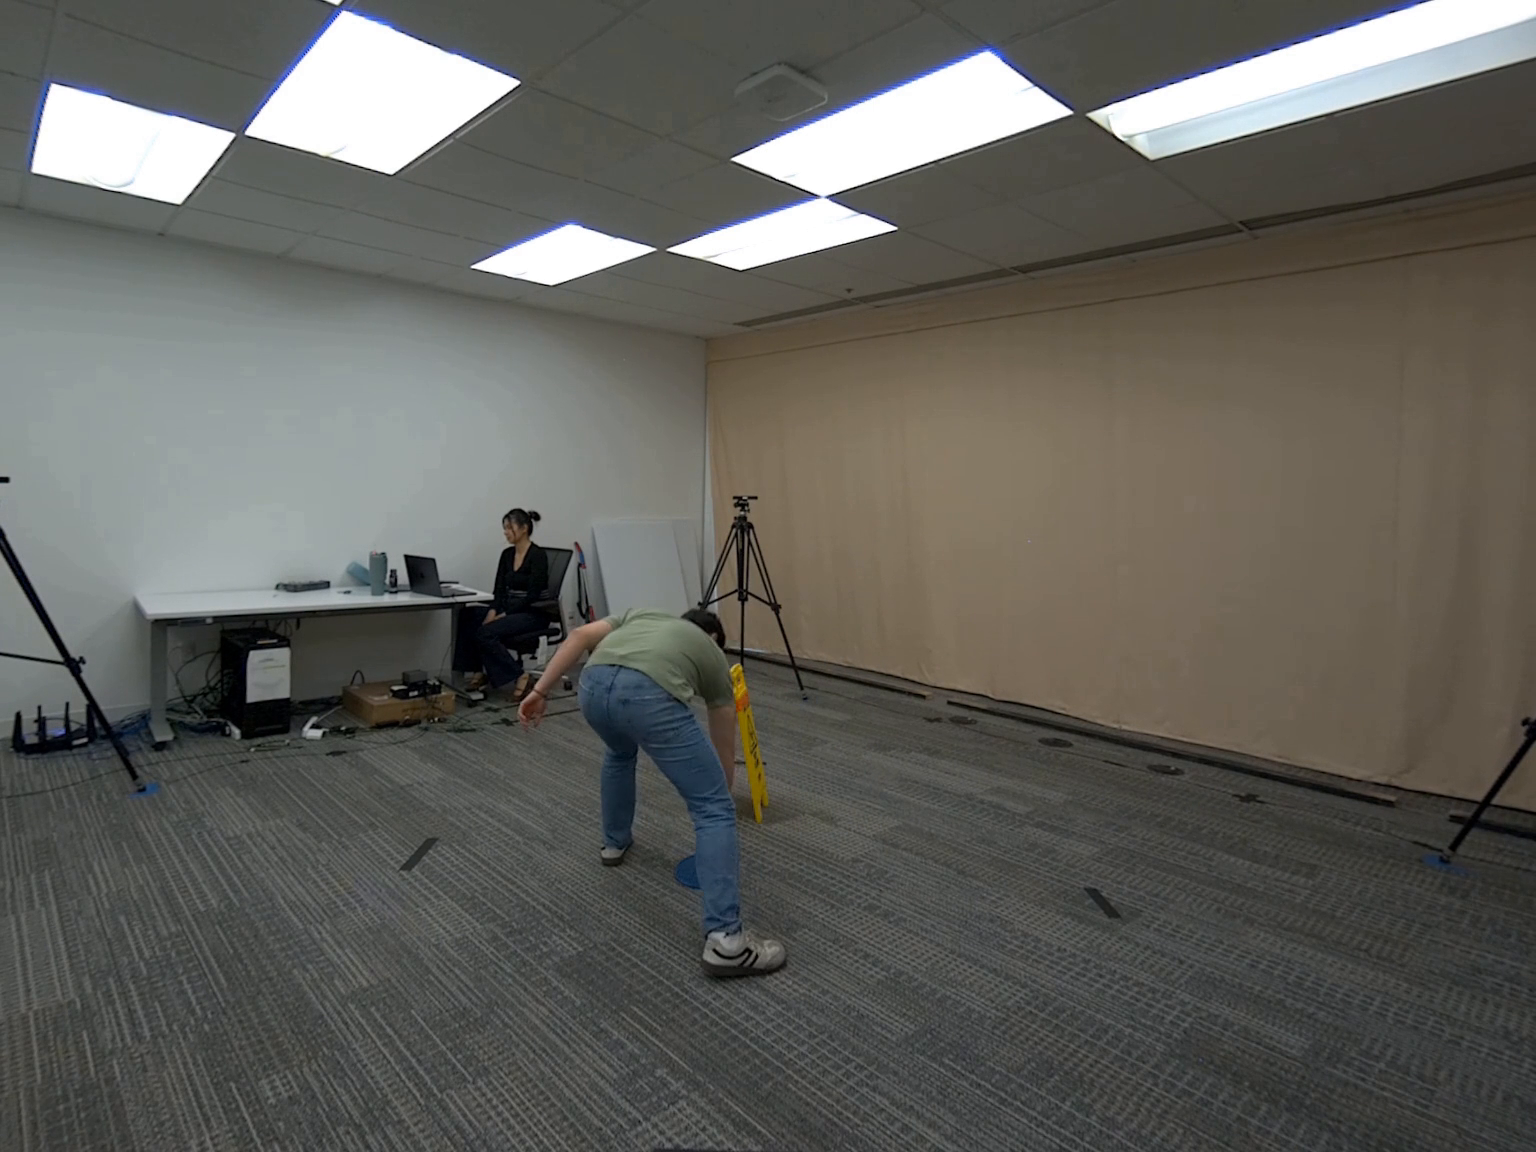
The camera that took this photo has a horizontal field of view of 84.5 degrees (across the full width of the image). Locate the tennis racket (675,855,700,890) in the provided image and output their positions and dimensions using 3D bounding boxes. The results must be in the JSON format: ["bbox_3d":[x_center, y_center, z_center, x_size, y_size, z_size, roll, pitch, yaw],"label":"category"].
[{"bbox_3d":[-0.246,1.078,3.191,0.214,0.031,0.433,2,6,2],"label":"tennis racket"}]
